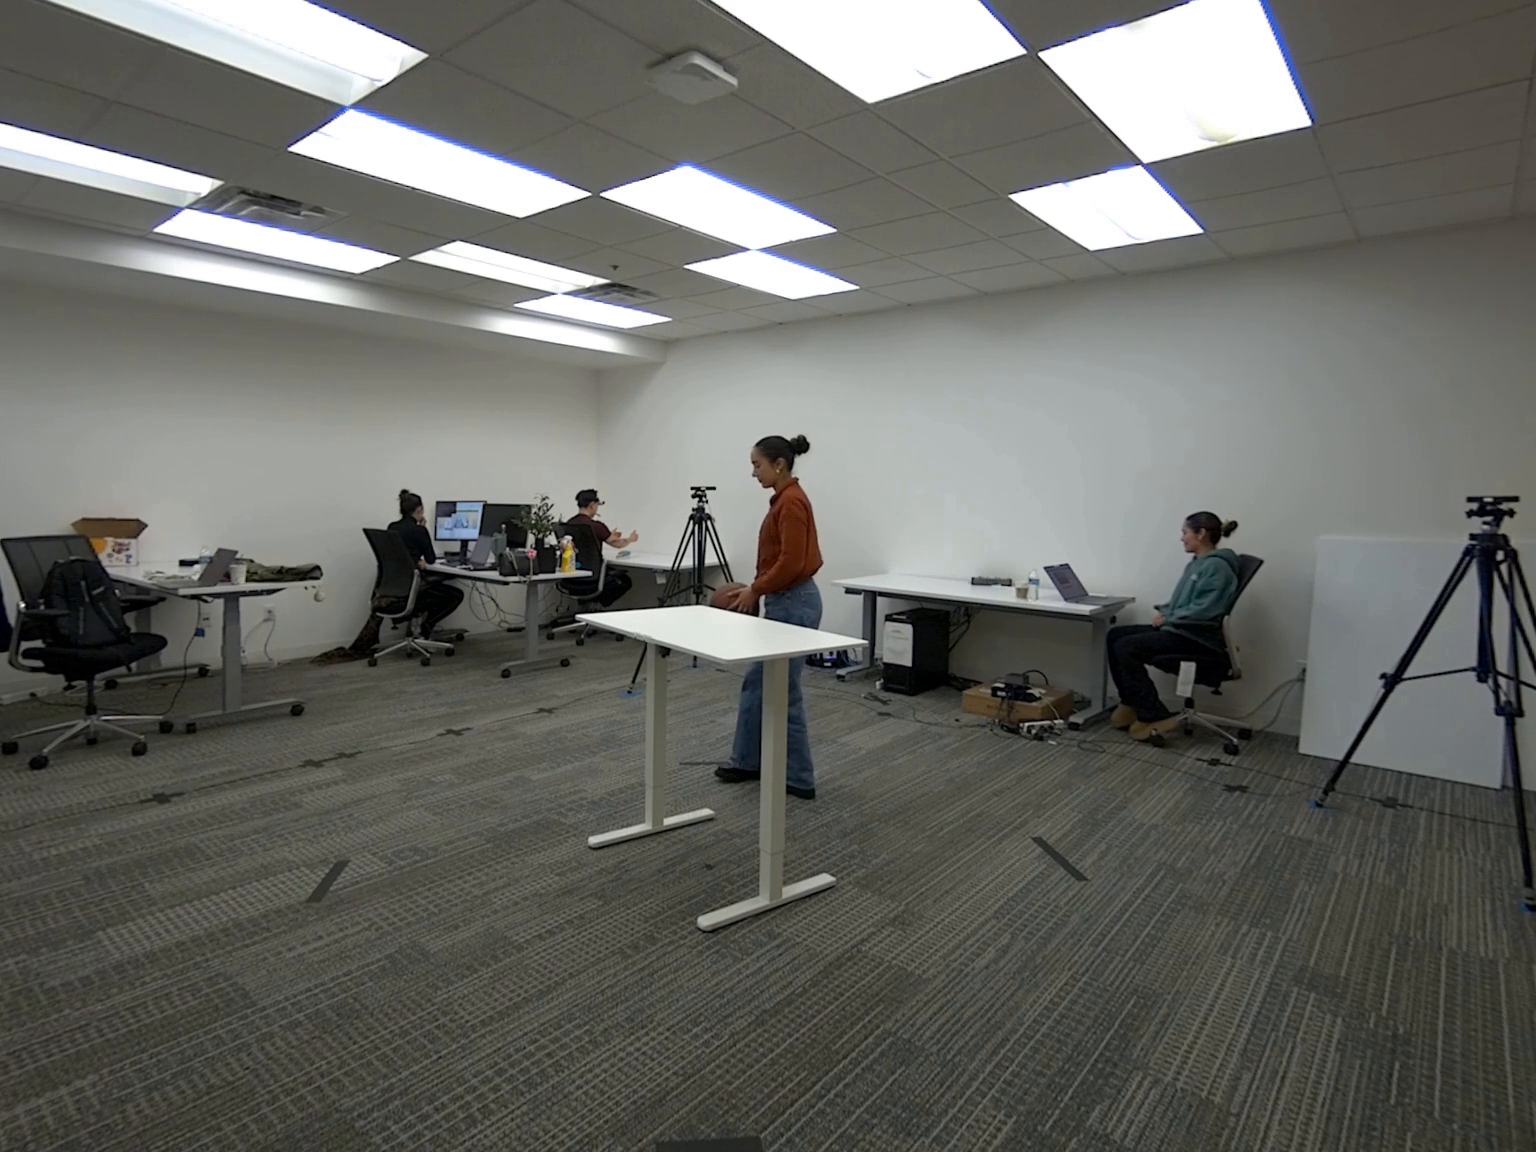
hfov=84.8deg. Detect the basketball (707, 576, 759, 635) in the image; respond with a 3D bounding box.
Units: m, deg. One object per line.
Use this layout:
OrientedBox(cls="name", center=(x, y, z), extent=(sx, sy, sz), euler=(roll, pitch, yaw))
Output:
OrientedBox(cls="basketball", center=(-0.168, 0.131, 3.941), extent=(0.235, 0.235, 0.237), euler=(1, 4, -2))
